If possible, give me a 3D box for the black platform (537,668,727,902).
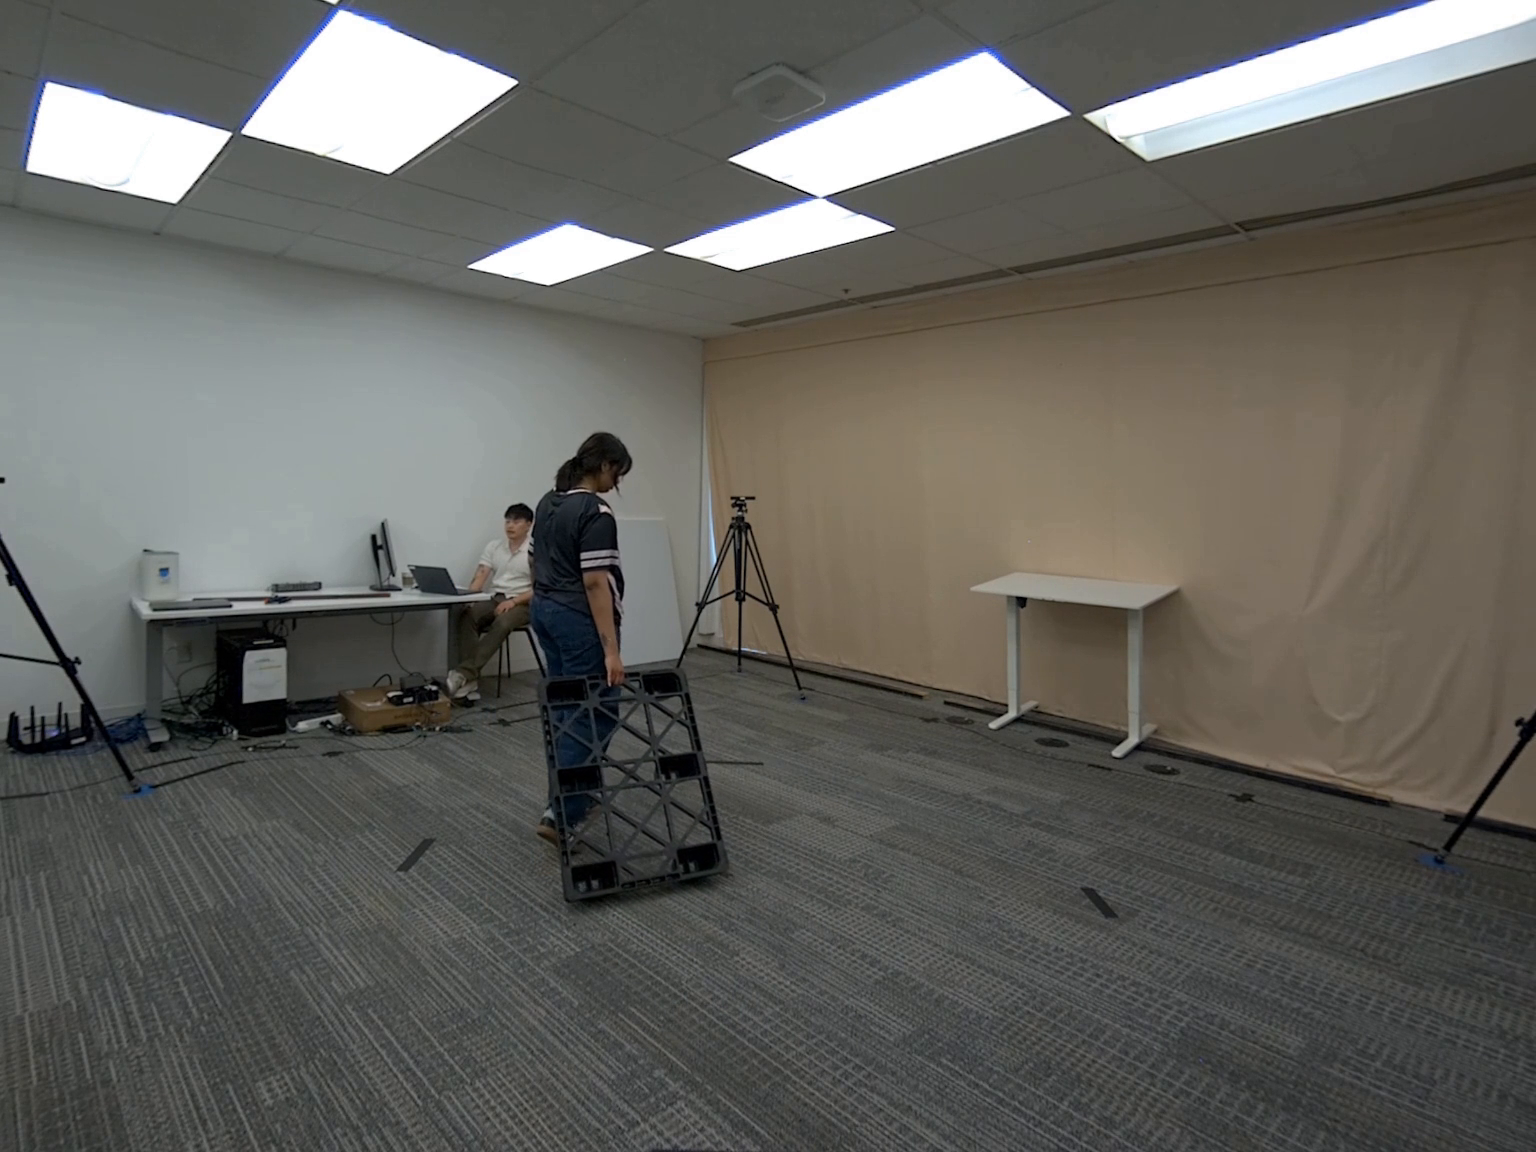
[{"bbox_3d":[-0.536,0.757,3.134,0.594,0.824,0.142,-2,-31,-26],"label":"black platform"}]
